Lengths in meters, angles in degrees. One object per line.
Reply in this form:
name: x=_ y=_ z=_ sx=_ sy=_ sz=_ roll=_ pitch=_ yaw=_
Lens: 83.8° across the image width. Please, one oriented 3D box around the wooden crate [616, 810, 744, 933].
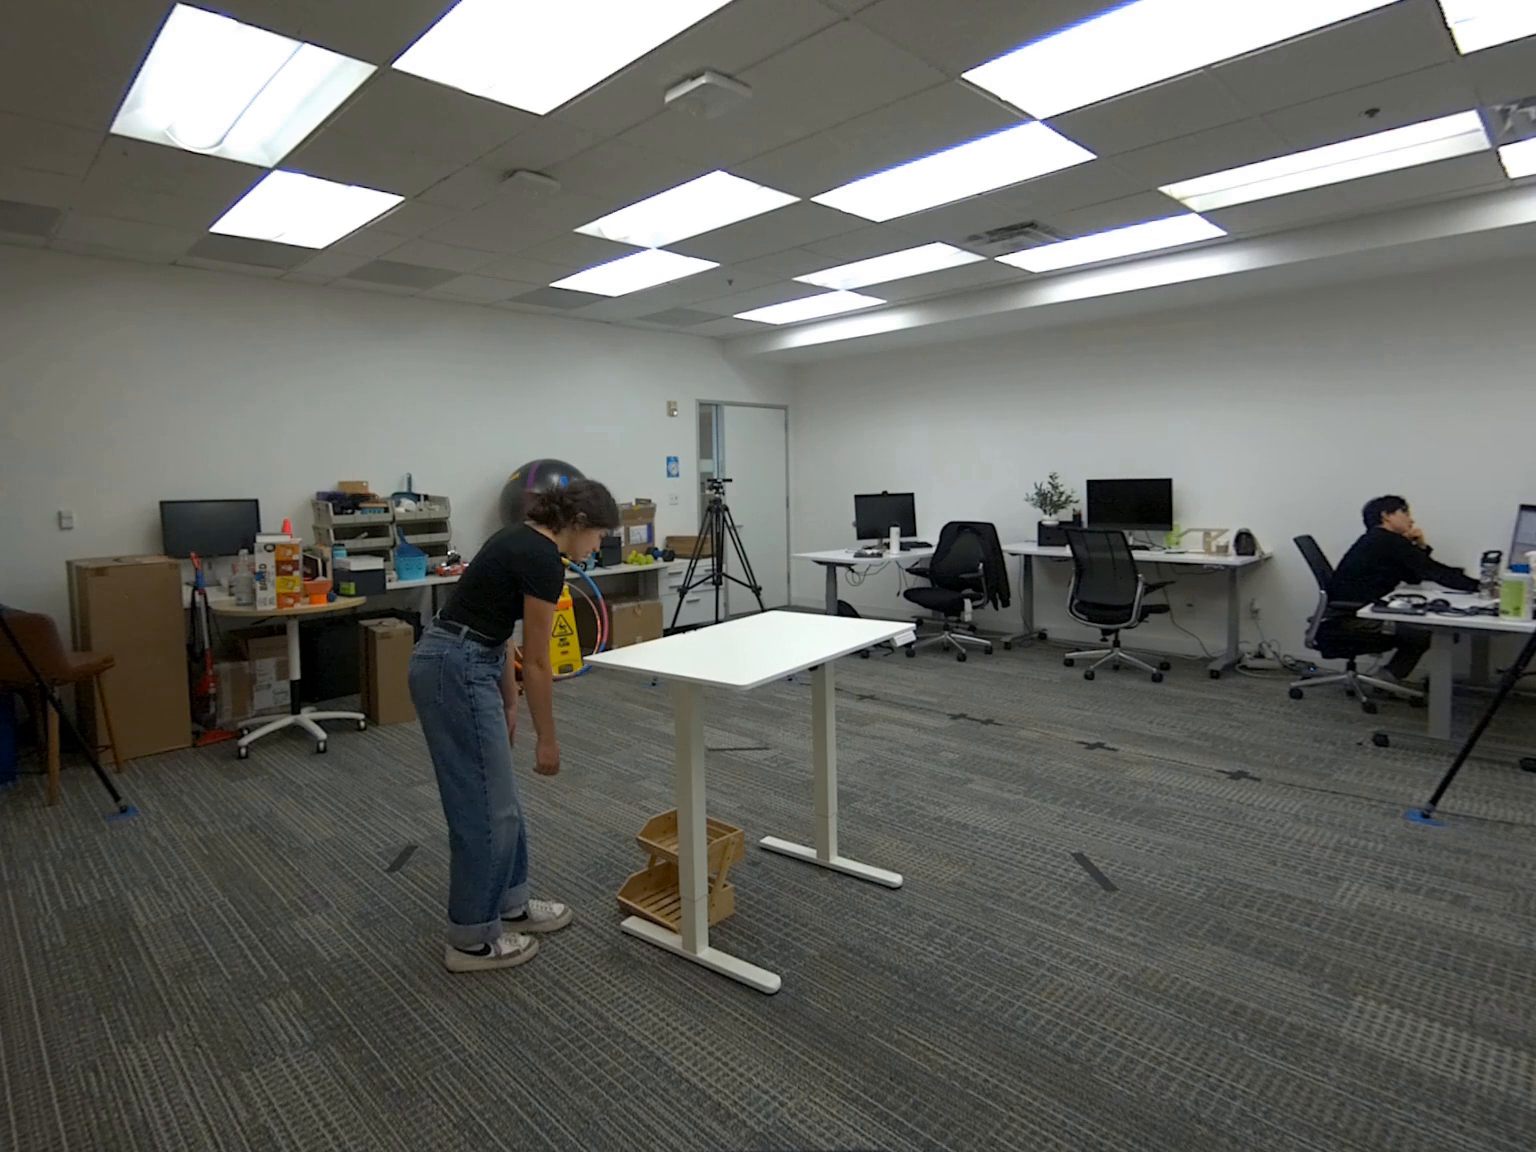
wooden crate: x=-0.286 y=0.954 z=2.776 sx=0.334 sy=0.272 sz=0.294 roll=4 pitch=7 yaw=42
